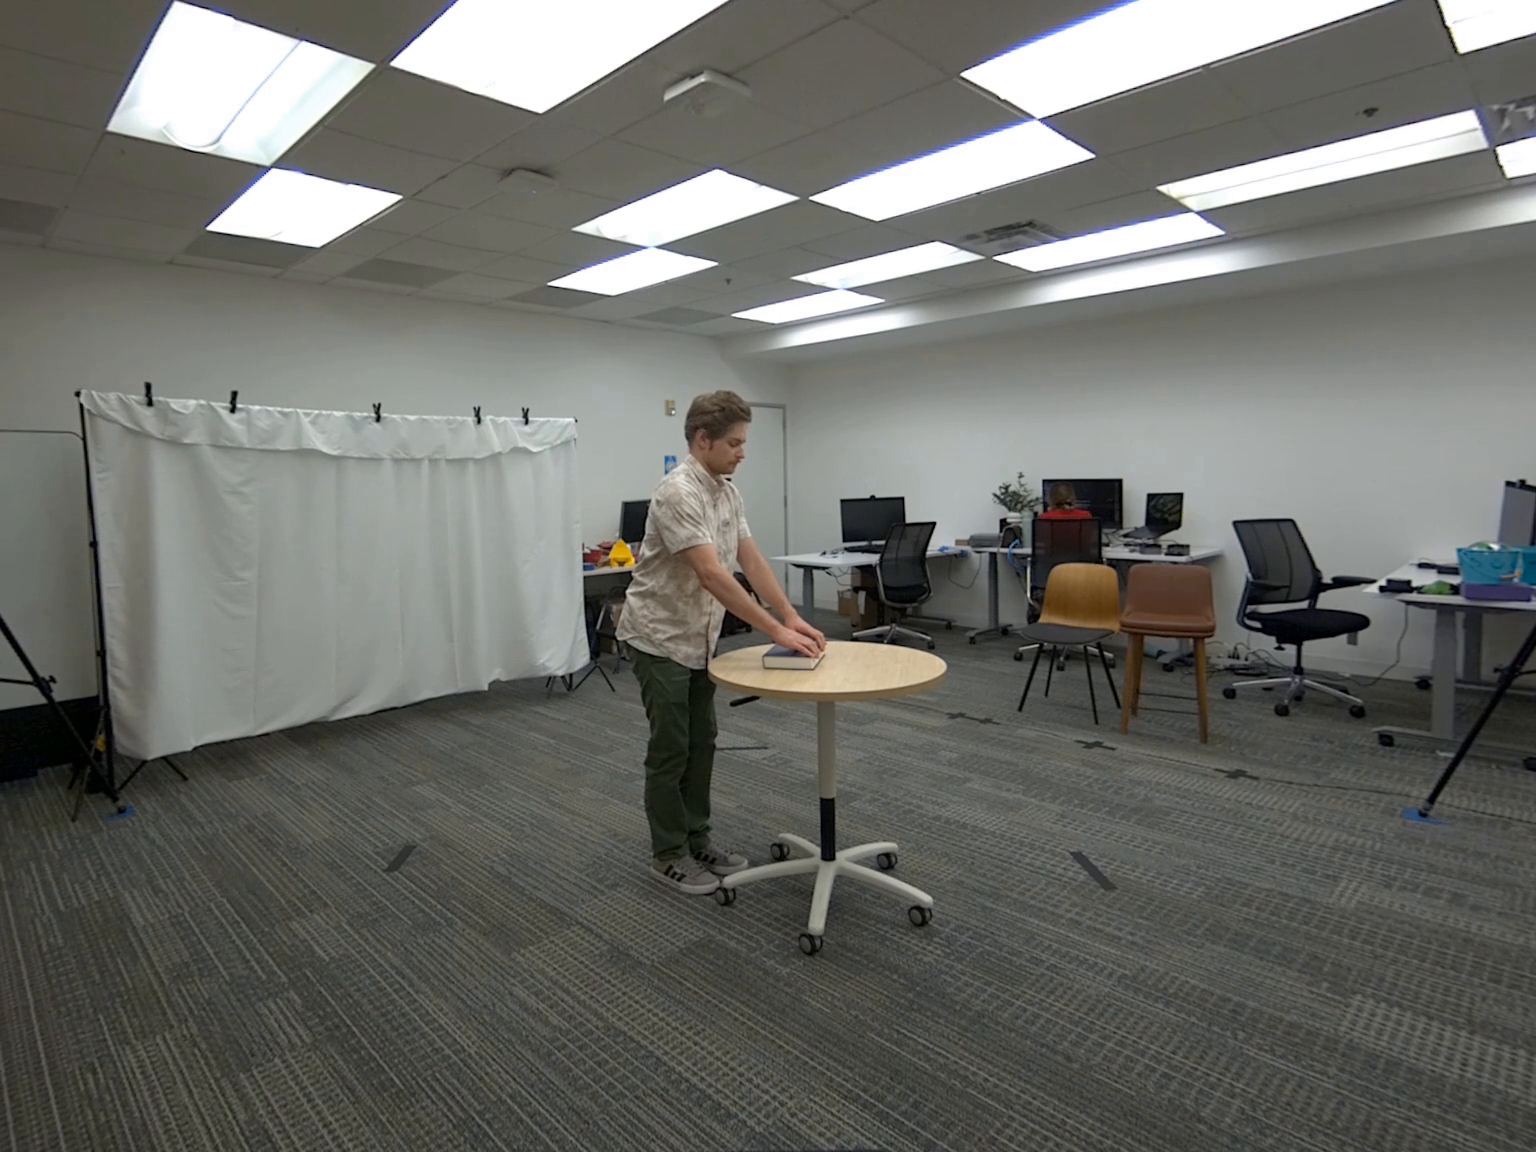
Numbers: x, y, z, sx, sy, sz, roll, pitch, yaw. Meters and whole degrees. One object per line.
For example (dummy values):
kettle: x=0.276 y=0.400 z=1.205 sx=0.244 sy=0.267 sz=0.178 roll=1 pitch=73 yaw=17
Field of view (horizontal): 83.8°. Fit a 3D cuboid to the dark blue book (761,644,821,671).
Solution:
dark blue book: x=0.093 y=0.263 z=2.809 sx=0.165 sy=0.045 sz=0.243 roll=0 pitch=5 yaw=13
